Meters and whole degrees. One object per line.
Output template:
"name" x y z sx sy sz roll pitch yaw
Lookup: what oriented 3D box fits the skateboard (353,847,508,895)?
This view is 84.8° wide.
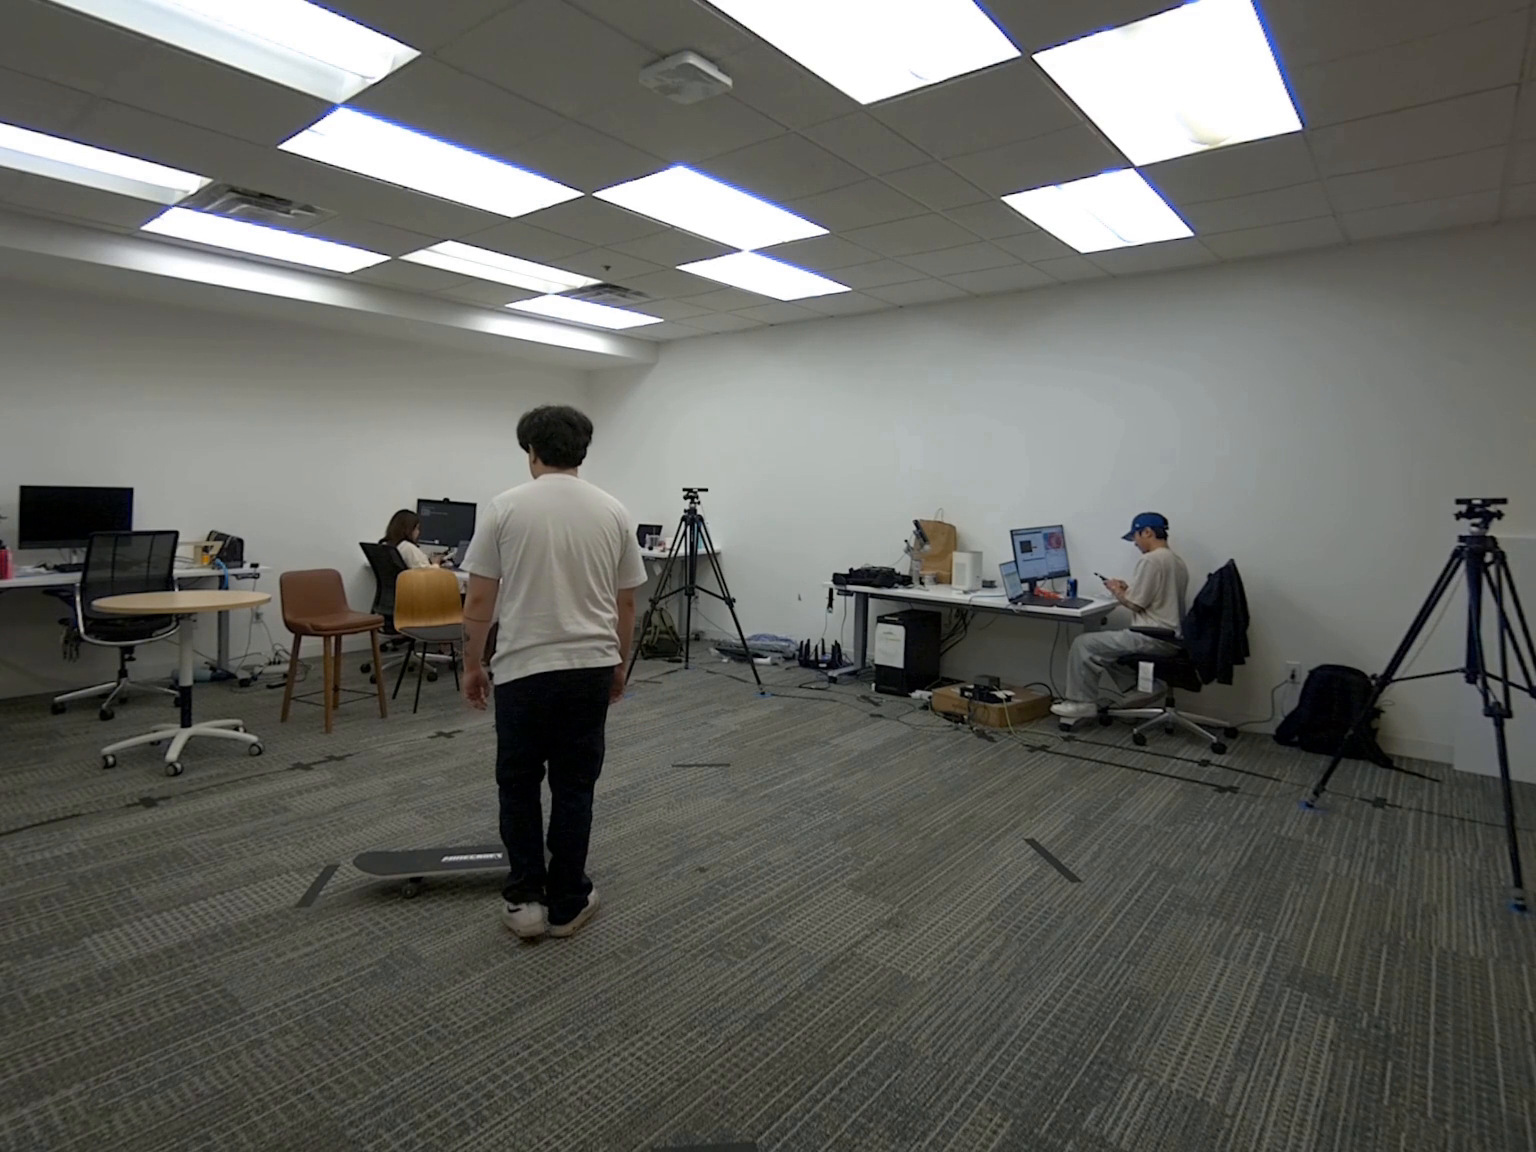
"skateboard" -1.040 1.011 2.974 0.776 0.110 0.196 0 5 -11
